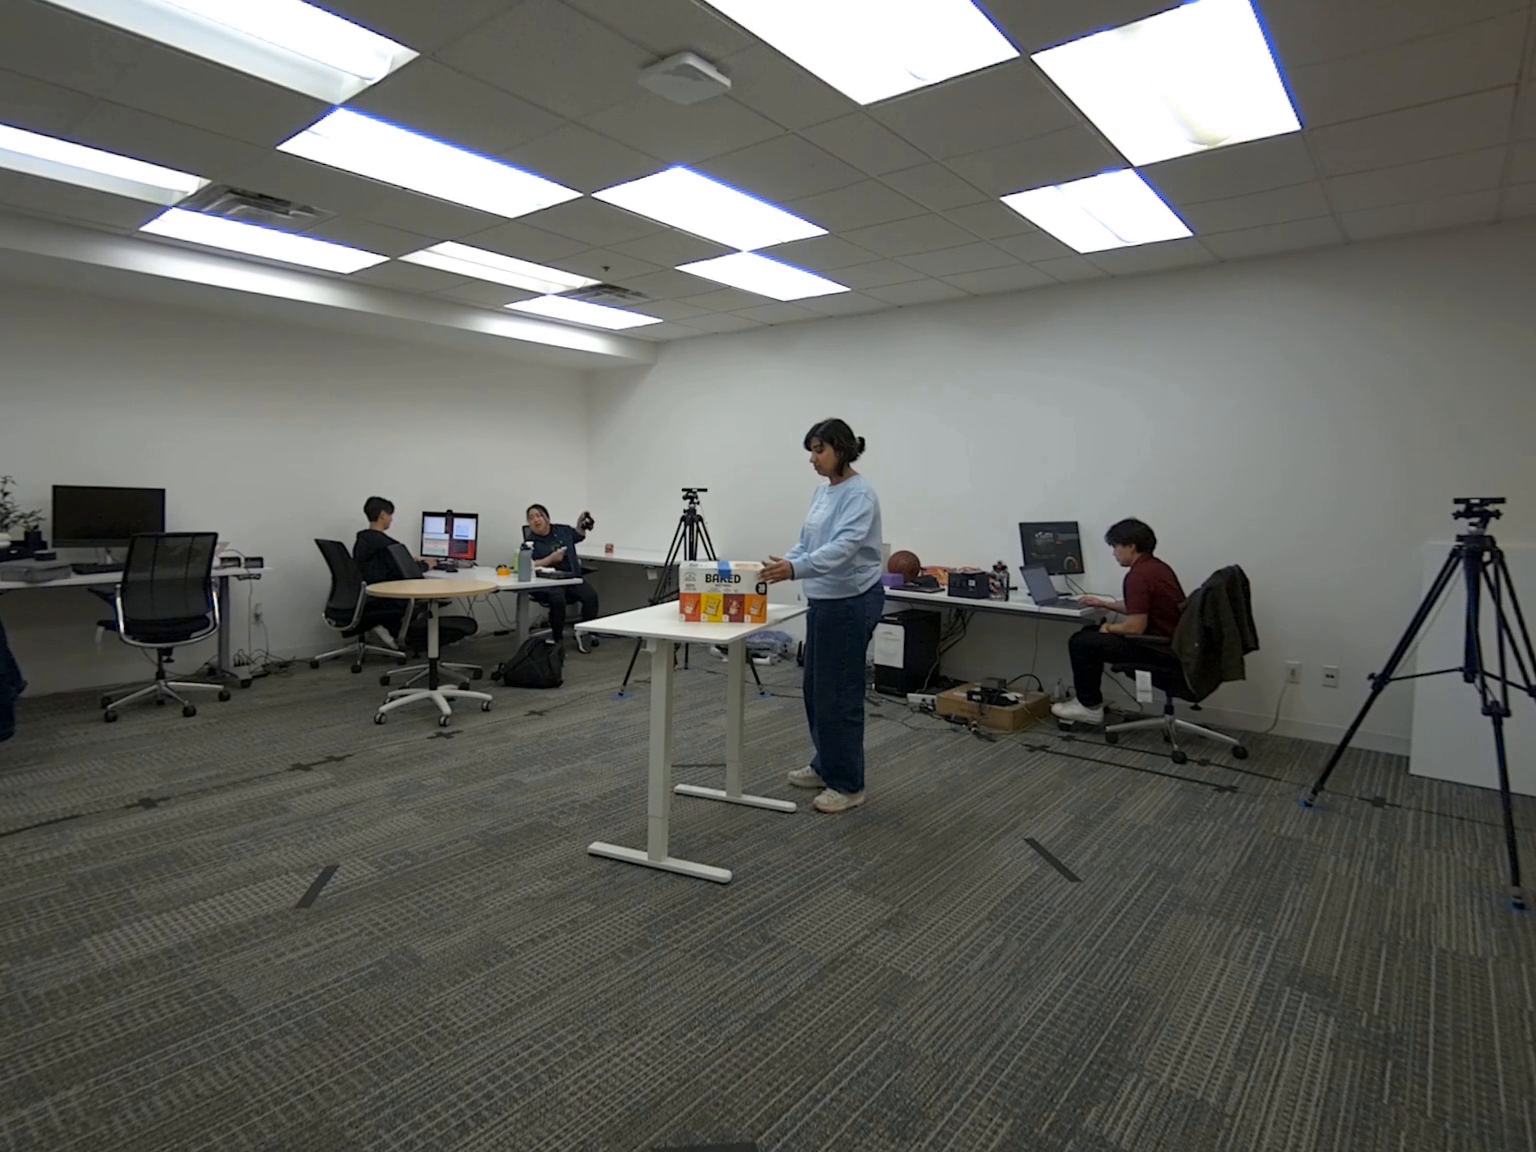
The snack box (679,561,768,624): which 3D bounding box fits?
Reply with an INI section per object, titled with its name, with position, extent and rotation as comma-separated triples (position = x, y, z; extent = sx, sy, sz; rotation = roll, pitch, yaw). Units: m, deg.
[snack box]
position = -0.197, 0.054, 3.444
extent = 0.340, 0.205, 0.407
rotation = 2, 4, -3
